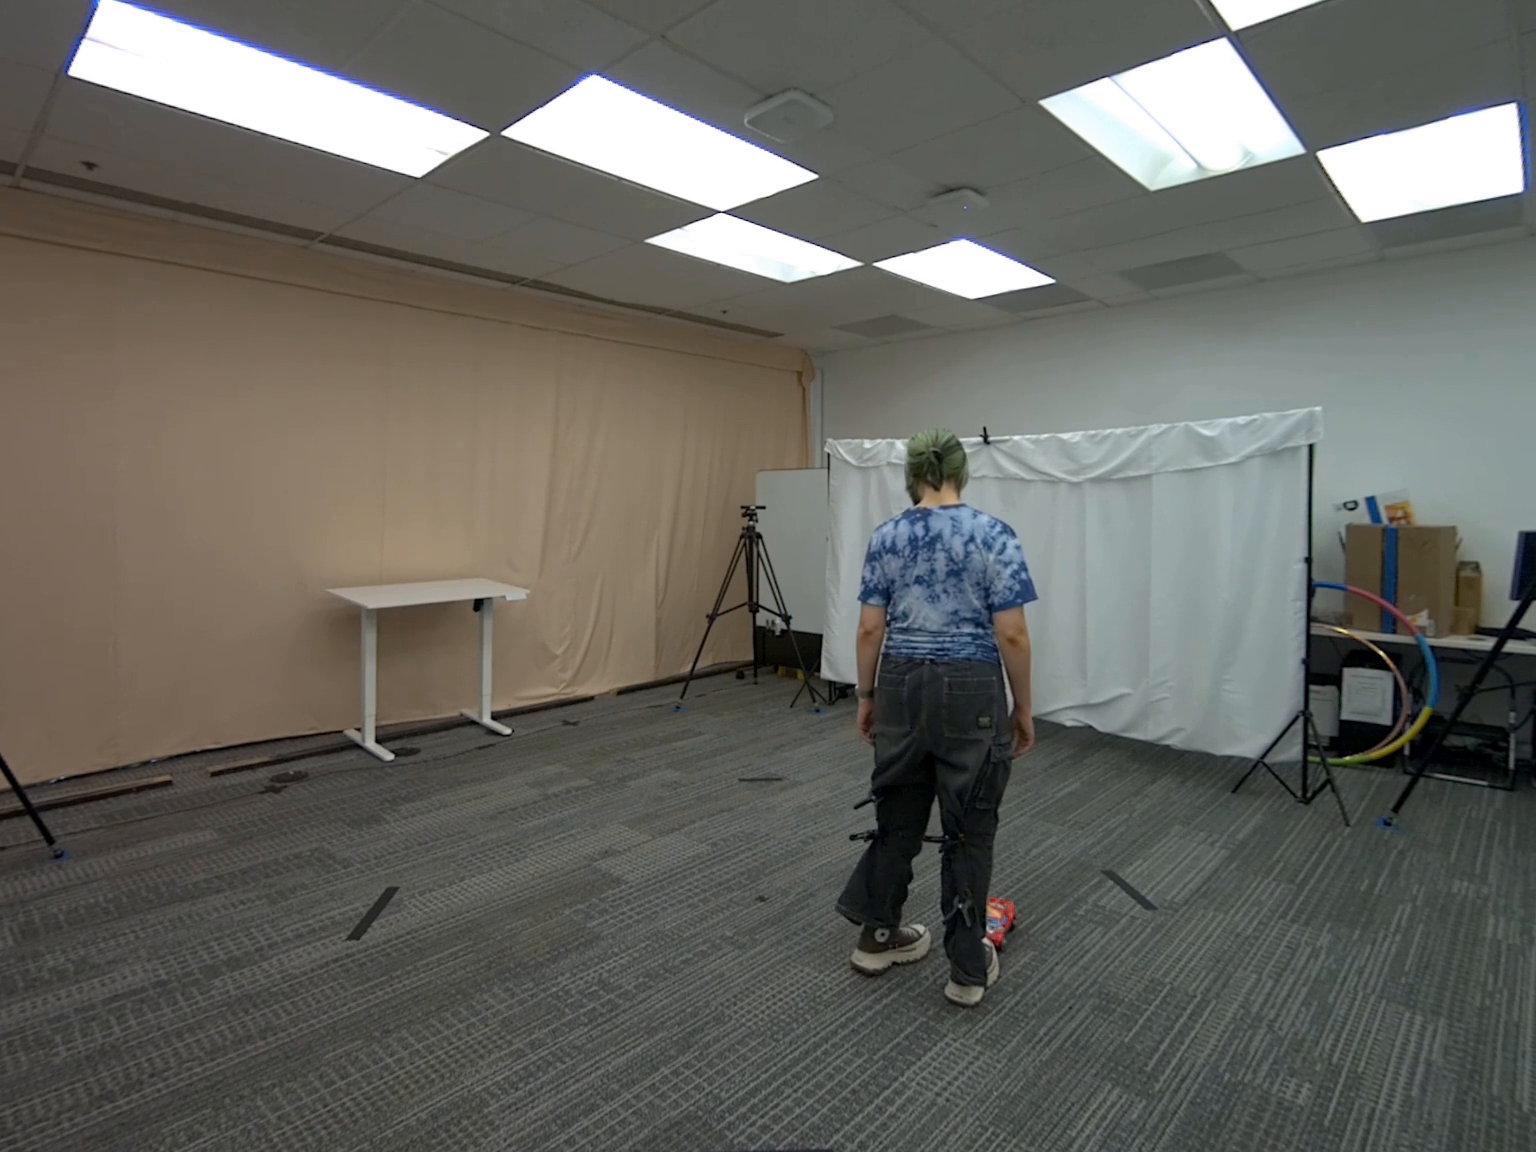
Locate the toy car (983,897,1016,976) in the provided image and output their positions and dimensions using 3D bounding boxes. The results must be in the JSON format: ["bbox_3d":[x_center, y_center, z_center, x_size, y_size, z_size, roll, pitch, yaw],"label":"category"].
[{"bbox_3d":[0.743,1.132,2.747,0.134,0.082,0.250,2,17,31],"label":"toy car"}]
